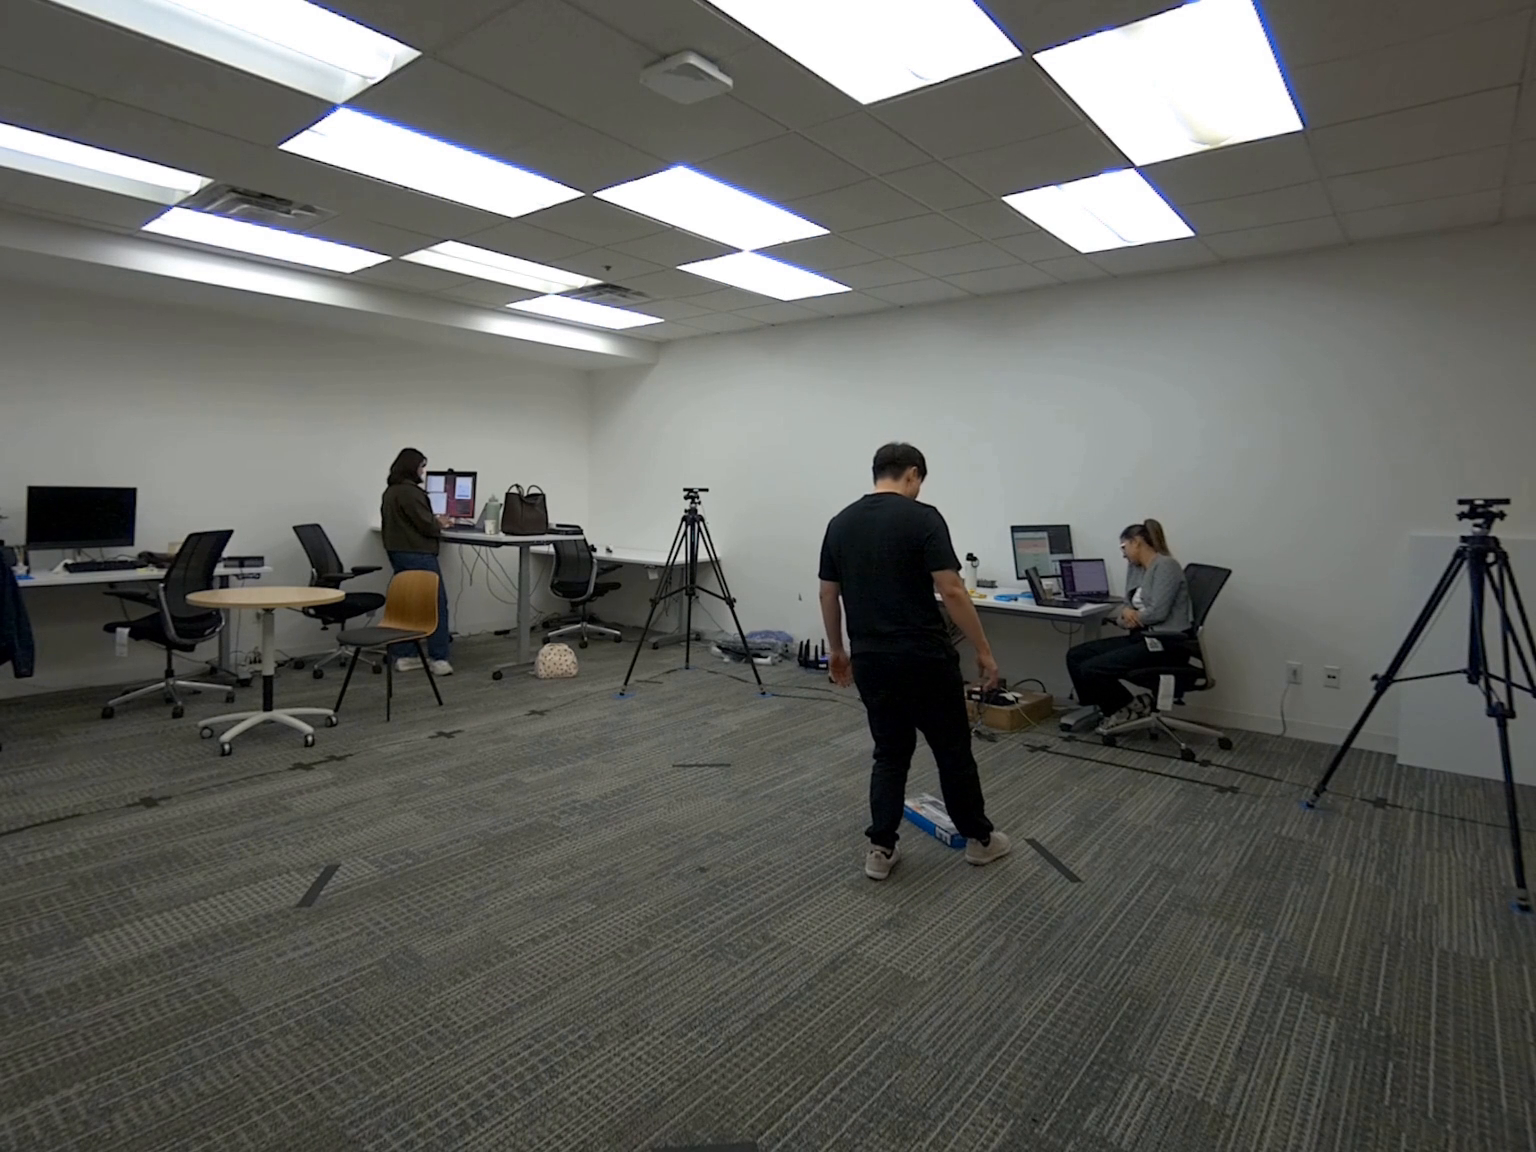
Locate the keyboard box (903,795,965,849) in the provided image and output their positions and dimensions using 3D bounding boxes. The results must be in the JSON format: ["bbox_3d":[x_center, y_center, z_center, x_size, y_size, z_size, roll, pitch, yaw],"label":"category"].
[{"bbox_3d":[0.707,1.015,3.572,0.172,0.059,0.448,-1,7,-23],"label":"keyboard box"}]
